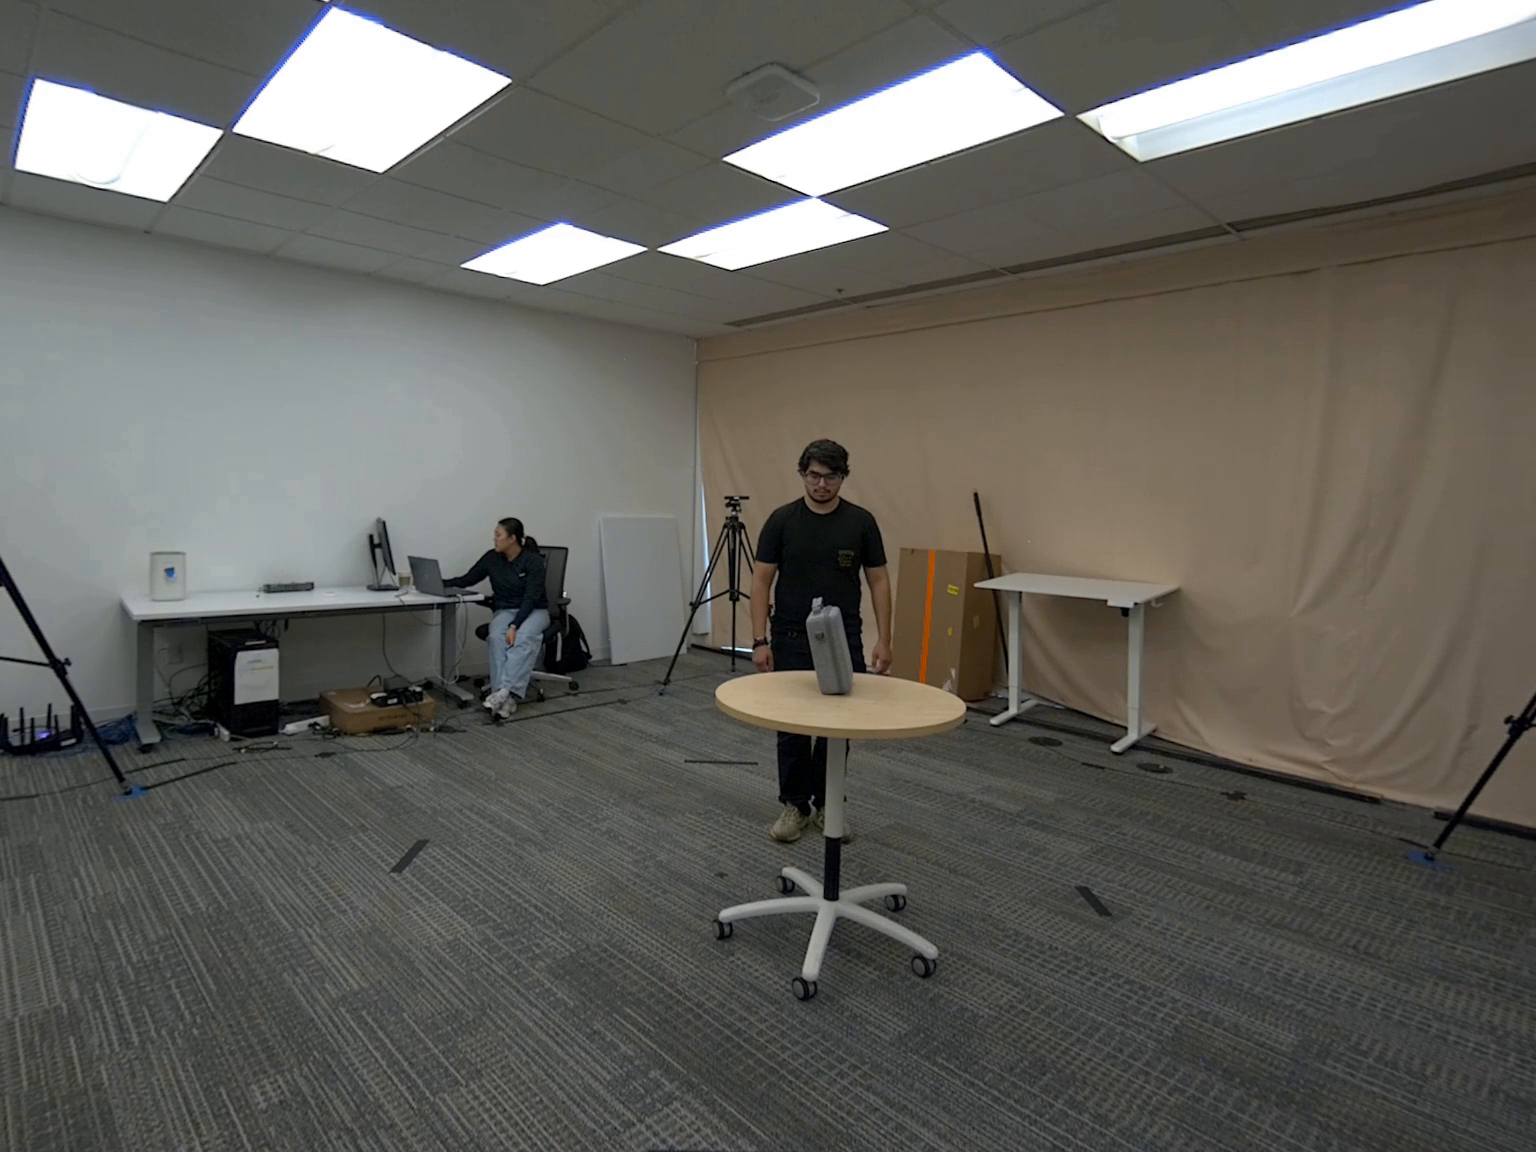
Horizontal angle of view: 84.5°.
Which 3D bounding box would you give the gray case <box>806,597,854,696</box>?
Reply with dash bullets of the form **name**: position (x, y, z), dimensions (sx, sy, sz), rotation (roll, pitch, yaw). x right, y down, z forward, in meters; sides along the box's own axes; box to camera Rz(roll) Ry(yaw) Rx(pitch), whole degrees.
- **gray case**: position (0.194, 0.234, 2.720), dimensions (0.105, 0.260, 0.256), rotation (-9, 2, 7)
